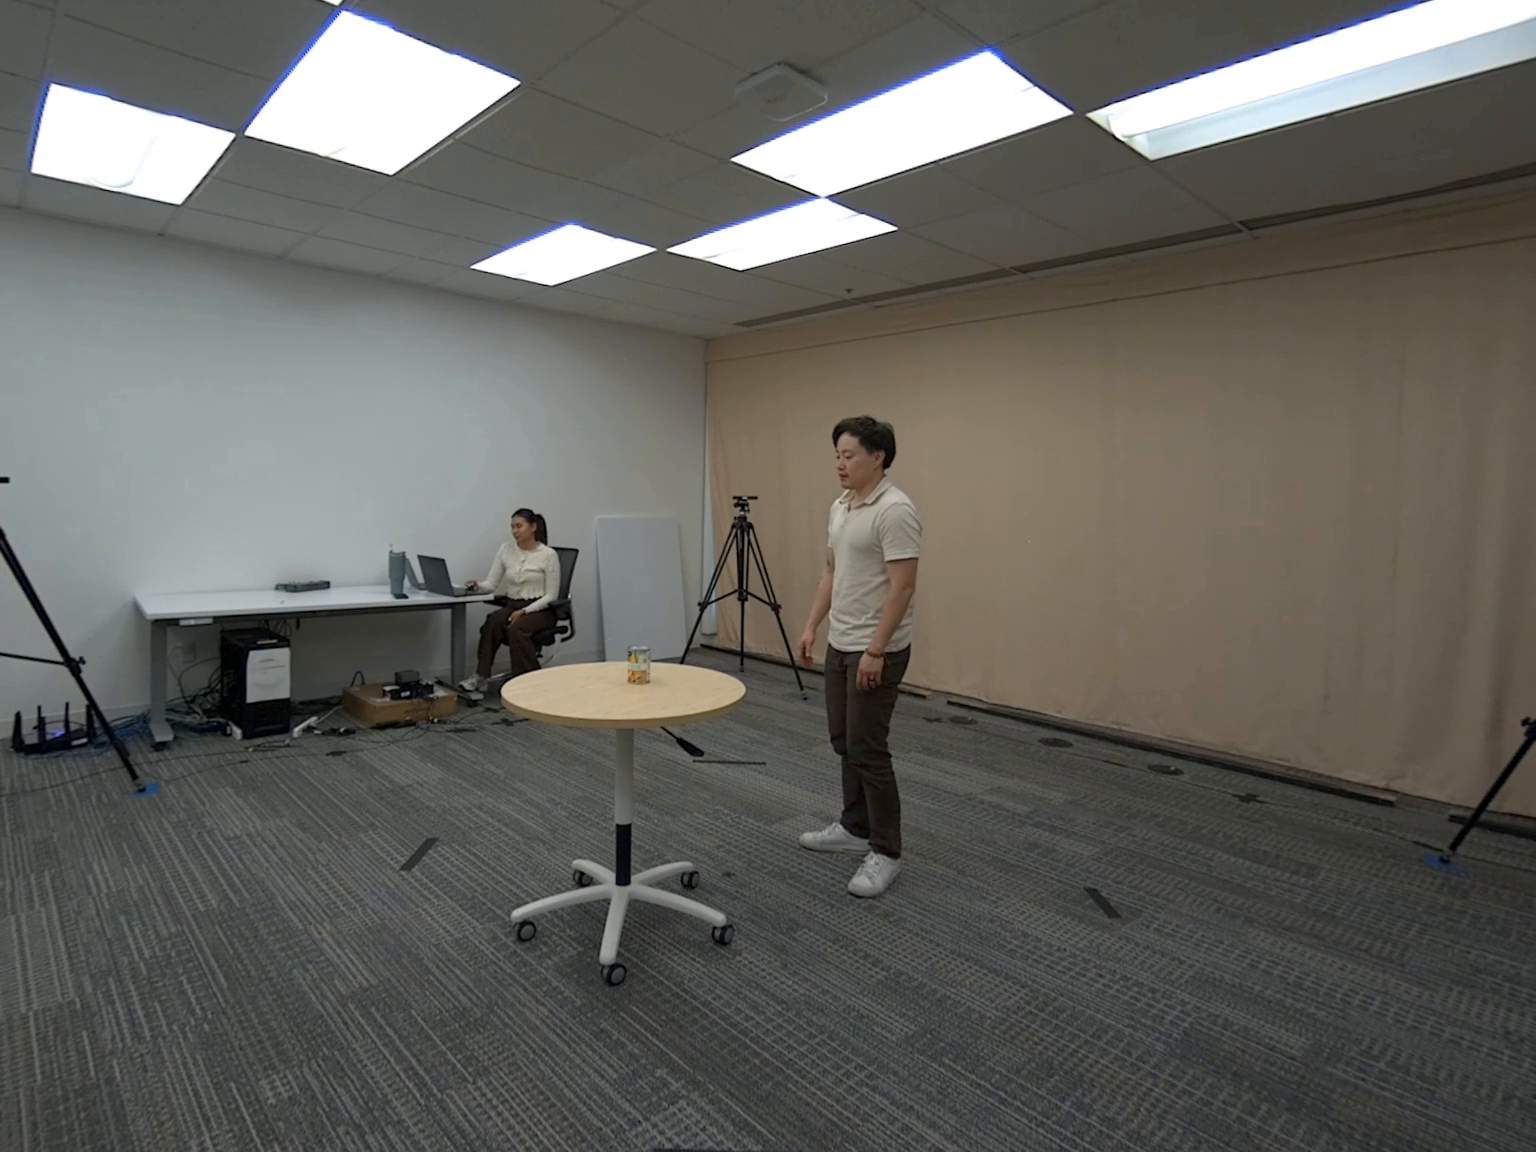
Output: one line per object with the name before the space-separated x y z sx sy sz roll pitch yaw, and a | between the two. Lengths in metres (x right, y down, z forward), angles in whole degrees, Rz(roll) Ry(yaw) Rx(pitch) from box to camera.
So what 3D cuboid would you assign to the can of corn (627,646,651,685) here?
can of corn | -0.429 0.292 2.735 0.074 0.111 0.074 0 4 -1
